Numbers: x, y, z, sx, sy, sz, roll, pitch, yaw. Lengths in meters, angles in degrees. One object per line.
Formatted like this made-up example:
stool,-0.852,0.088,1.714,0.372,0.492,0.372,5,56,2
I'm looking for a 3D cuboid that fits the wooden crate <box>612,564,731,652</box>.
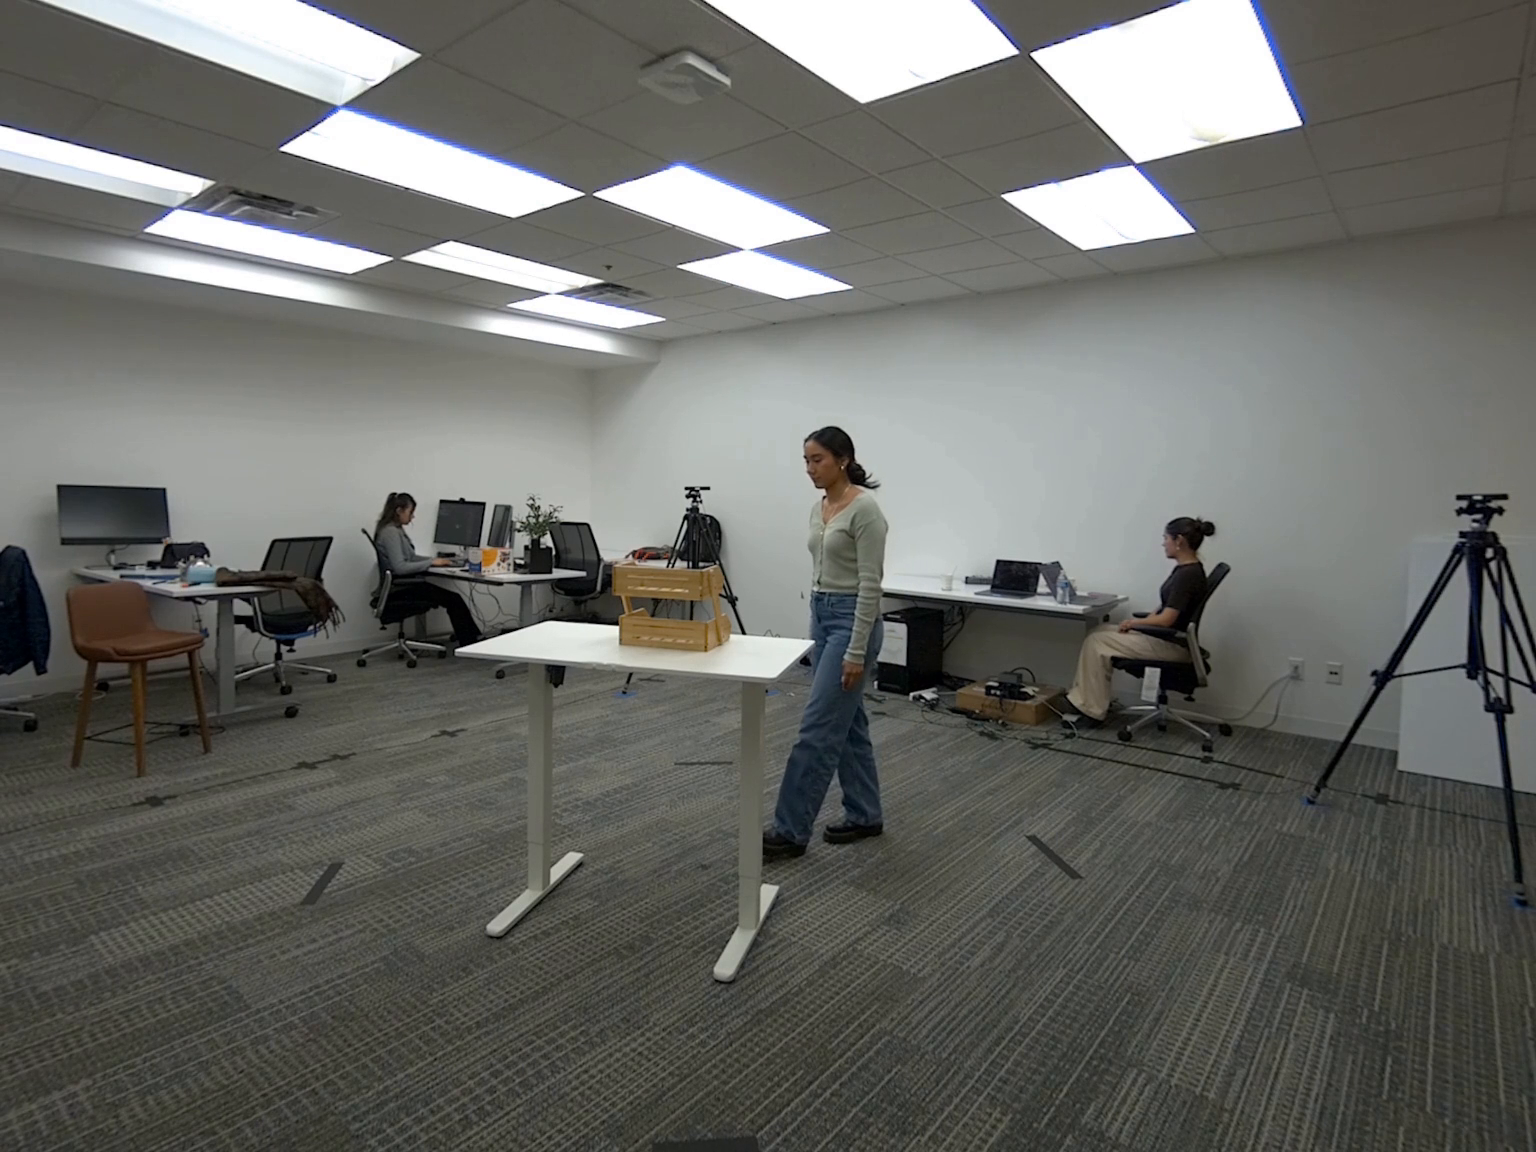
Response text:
wooden crate,-0.319,0.084,2.764,0.330,0.272,0.298,2,6,16
